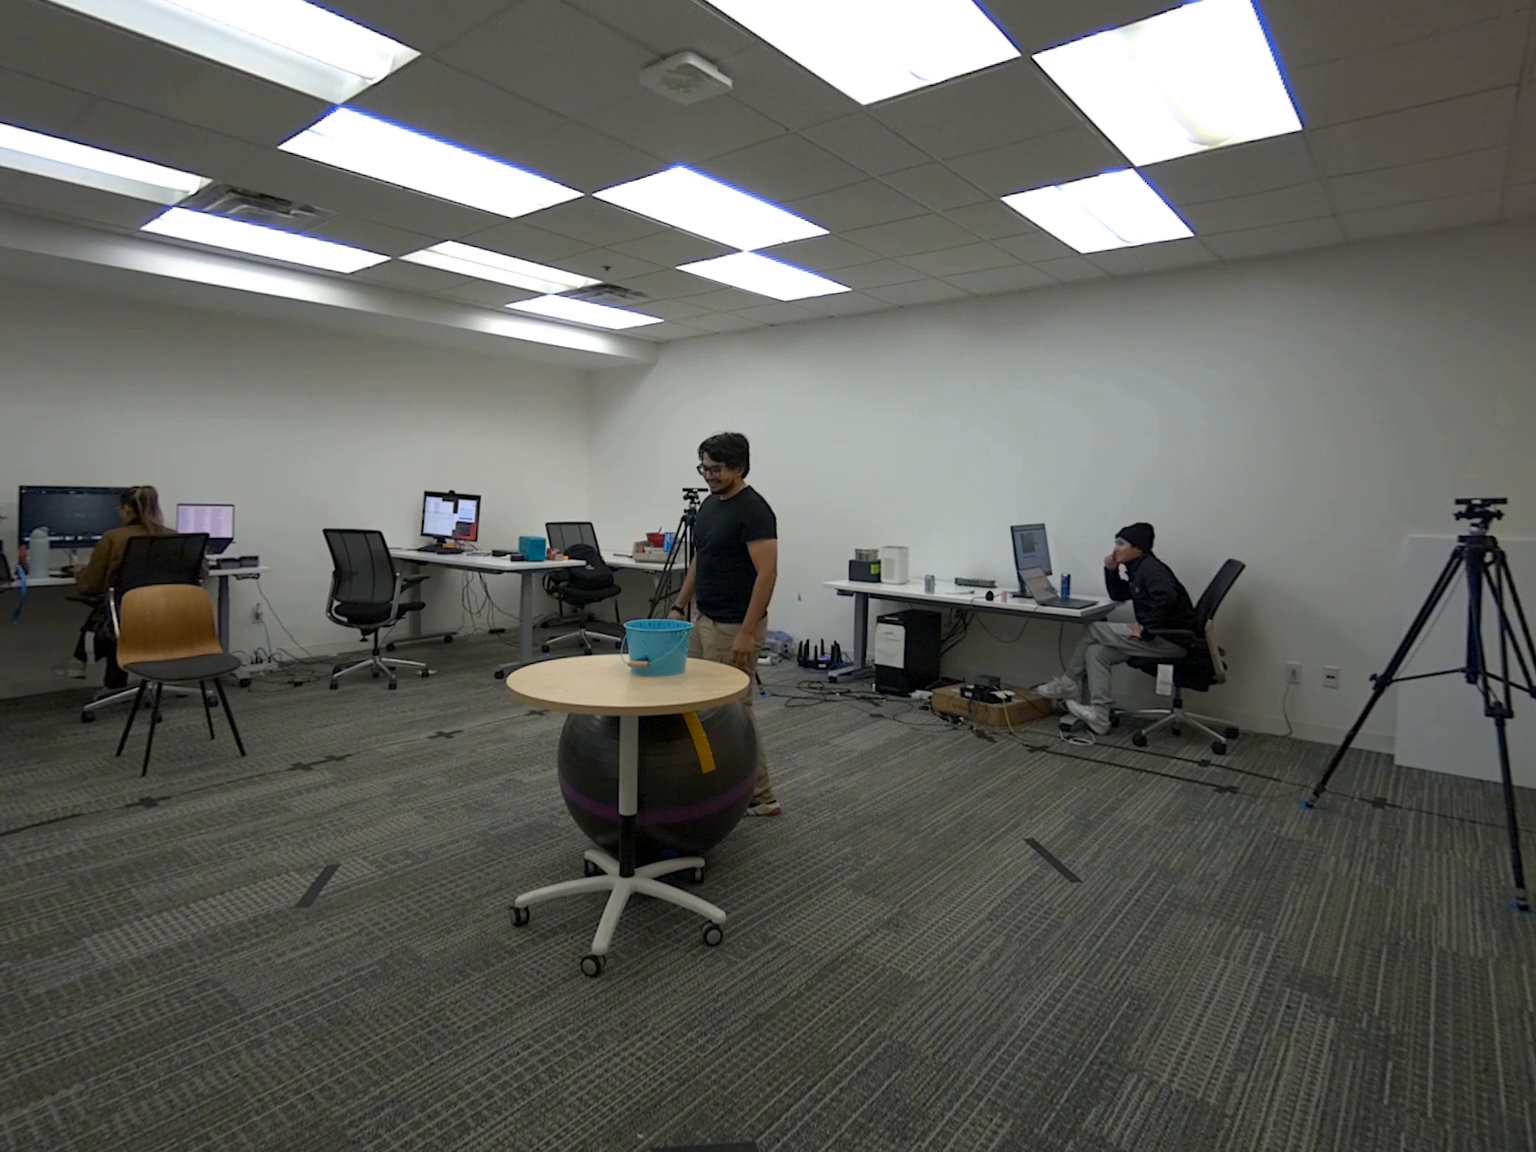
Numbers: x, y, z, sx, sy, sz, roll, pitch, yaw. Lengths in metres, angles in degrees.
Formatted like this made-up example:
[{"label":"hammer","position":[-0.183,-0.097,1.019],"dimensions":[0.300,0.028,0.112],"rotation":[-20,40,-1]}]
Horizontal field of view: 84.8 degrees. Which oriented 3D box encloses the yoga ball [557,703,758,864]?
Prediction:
[{"label":"yoga ball","position":[-0.415,0.690,3.216],"dimensions":[0.757,0.755,0.762],"rotation":[1,4,-2]}]
